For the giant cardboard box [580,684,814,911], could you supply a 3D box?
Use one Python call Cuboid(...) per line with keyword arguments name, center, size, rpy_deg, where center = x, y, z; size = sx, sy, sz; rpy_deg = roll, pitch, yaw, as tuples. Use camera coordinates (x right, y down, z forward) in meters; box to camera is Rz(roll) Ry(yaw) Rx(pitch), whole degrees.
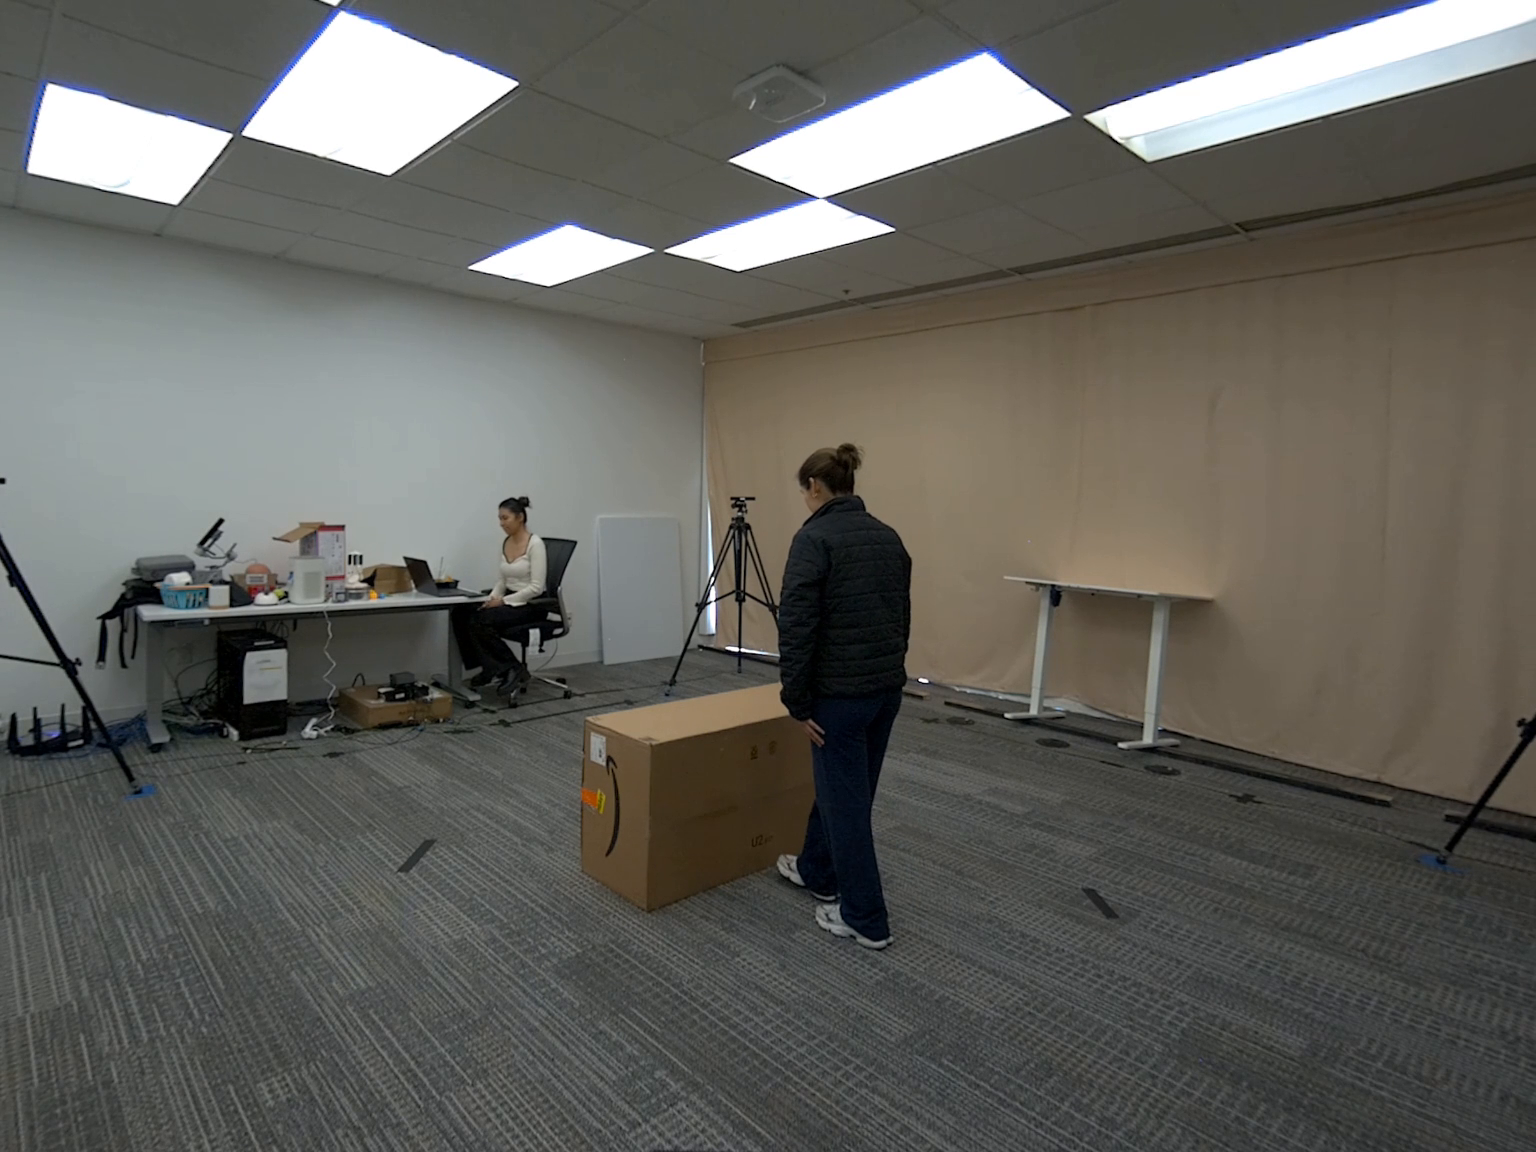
Cuboid(name="giant cardboard box", center=(-0.183, 0.805, 3.281), size=(1.003, 0.582, 0.458), rpy_deg=(-2, 7, -42))
